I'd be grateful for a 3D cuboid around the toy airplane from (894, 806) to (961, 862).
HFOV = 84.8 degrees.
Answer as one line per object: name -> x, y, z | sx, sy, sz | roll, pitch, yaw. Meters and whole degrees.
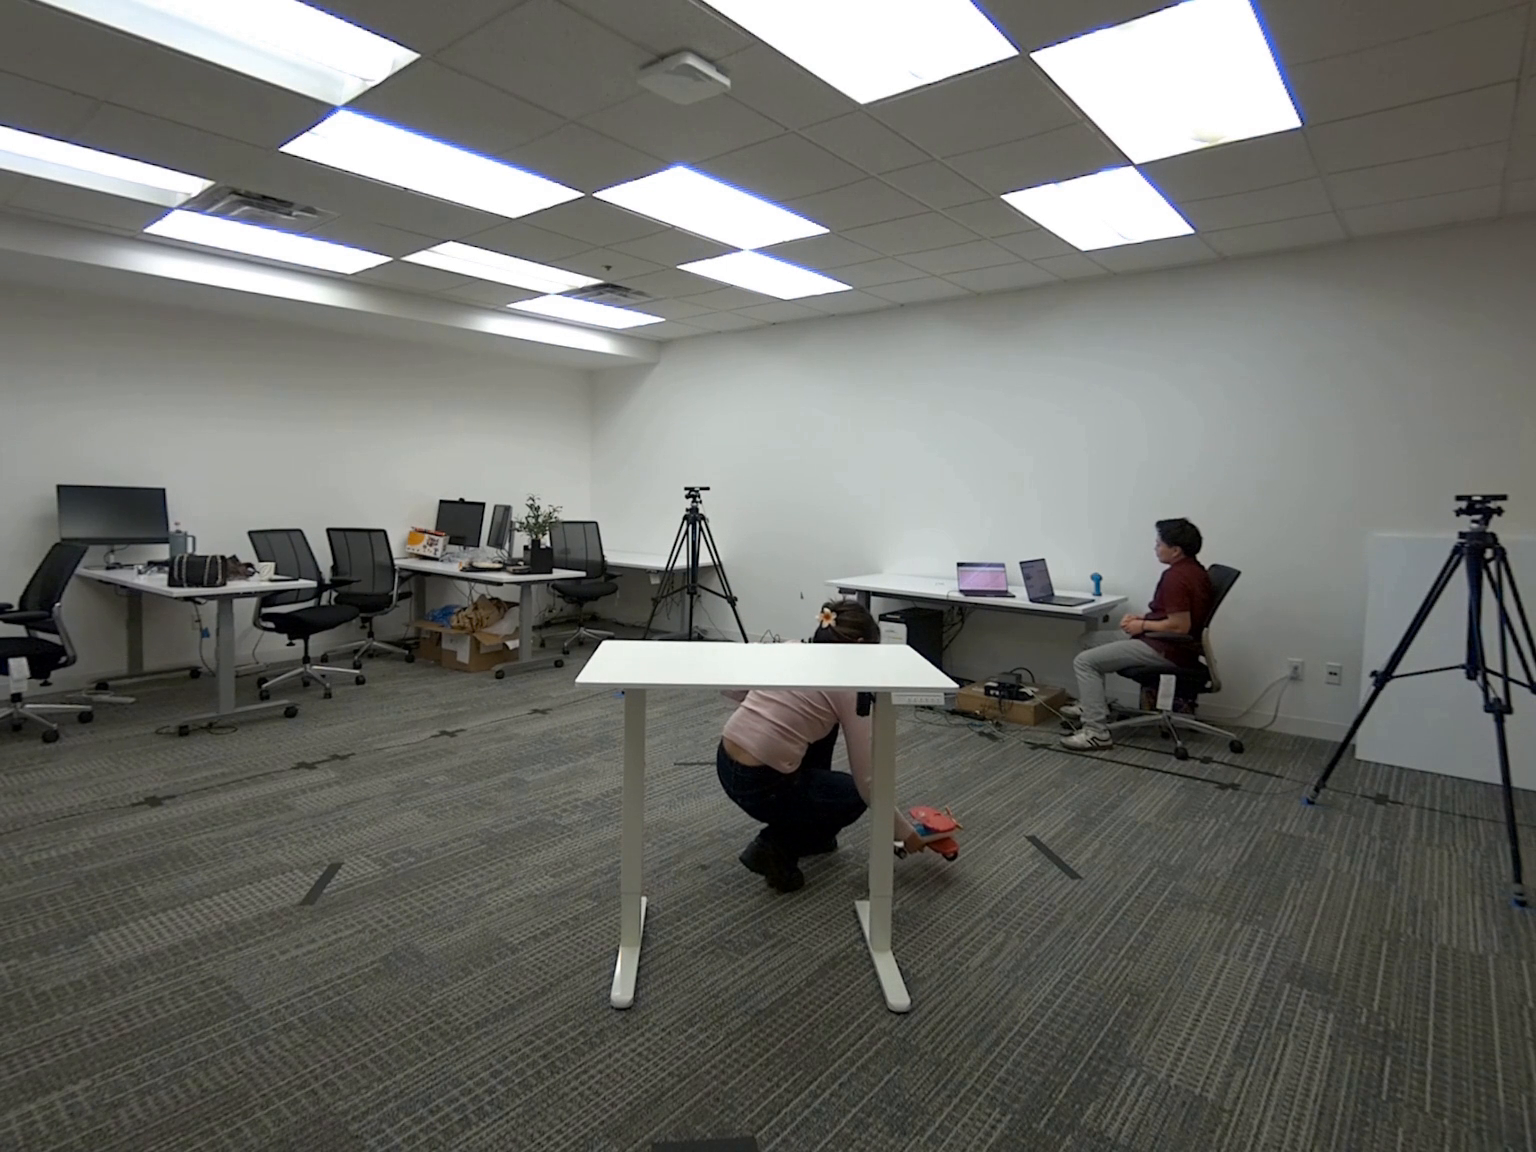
toy airplane -> 0.570, 0.947, 3.088 | 0.250, 0.156, 0.259 | 5, 0, -41
